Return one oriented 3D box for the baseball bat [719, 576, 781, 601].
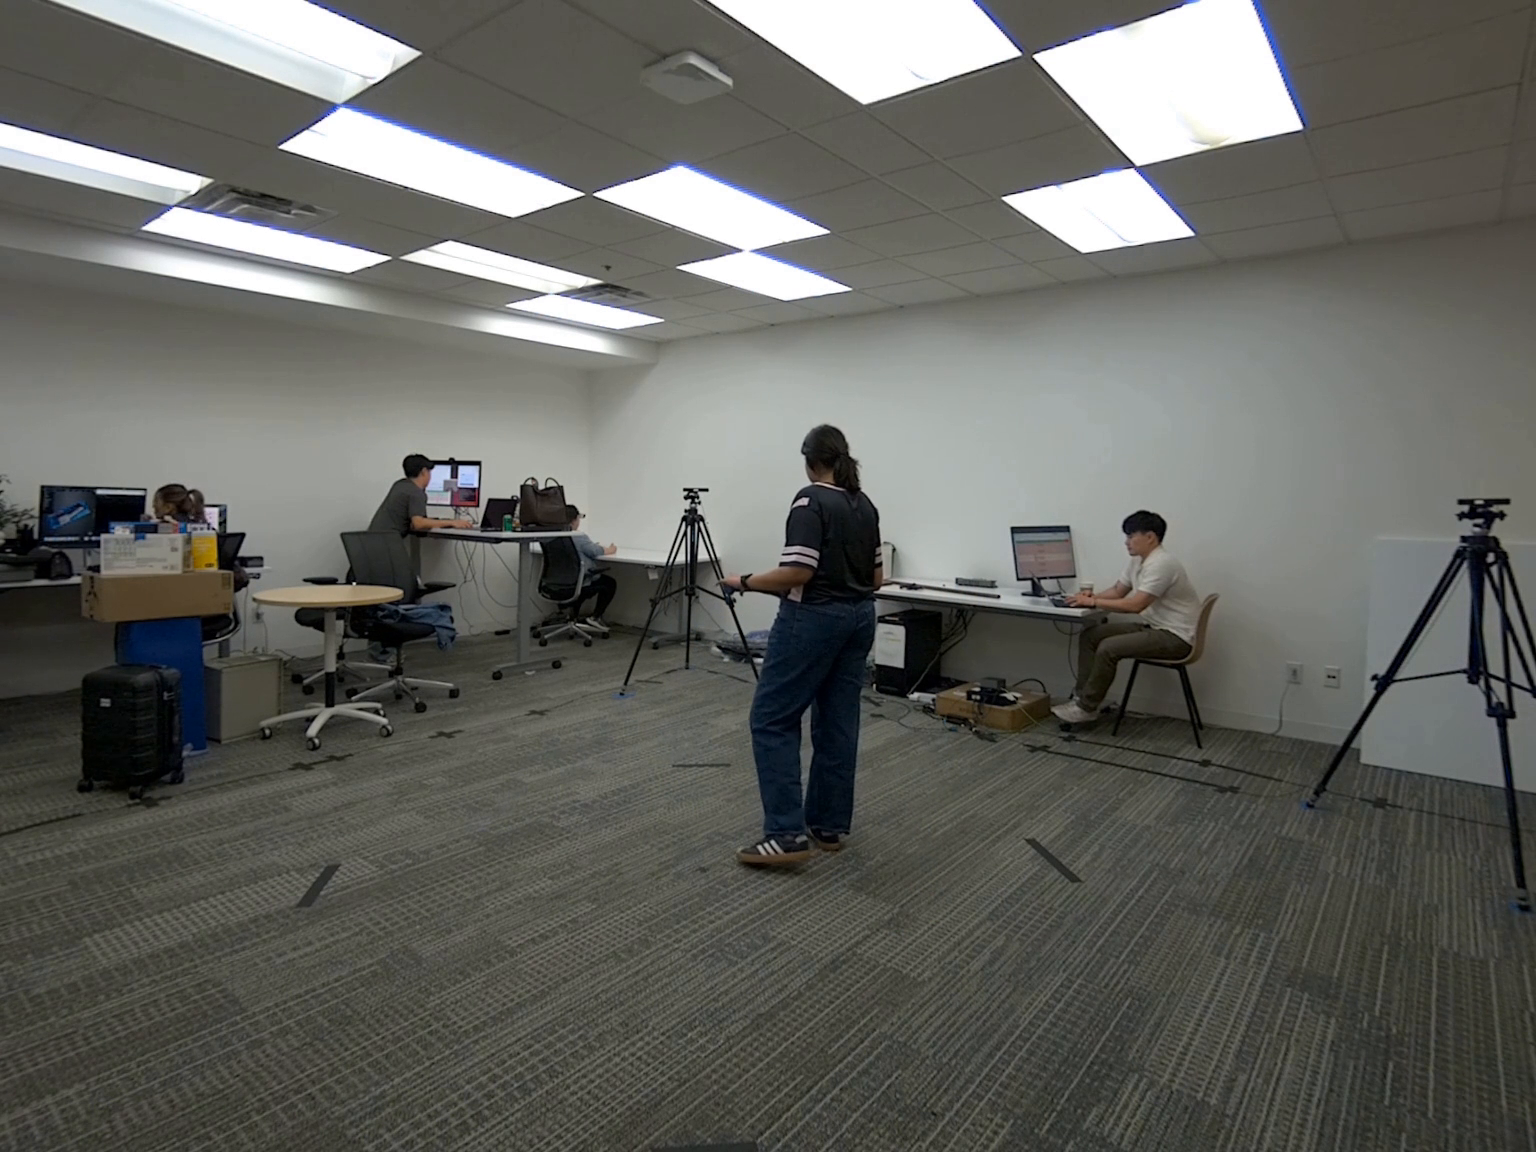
[{"bbox_3d":[0.018,0.049,3.540,0.092,0.089,0.525,5,3,43],"label":"baseball bat"}]
